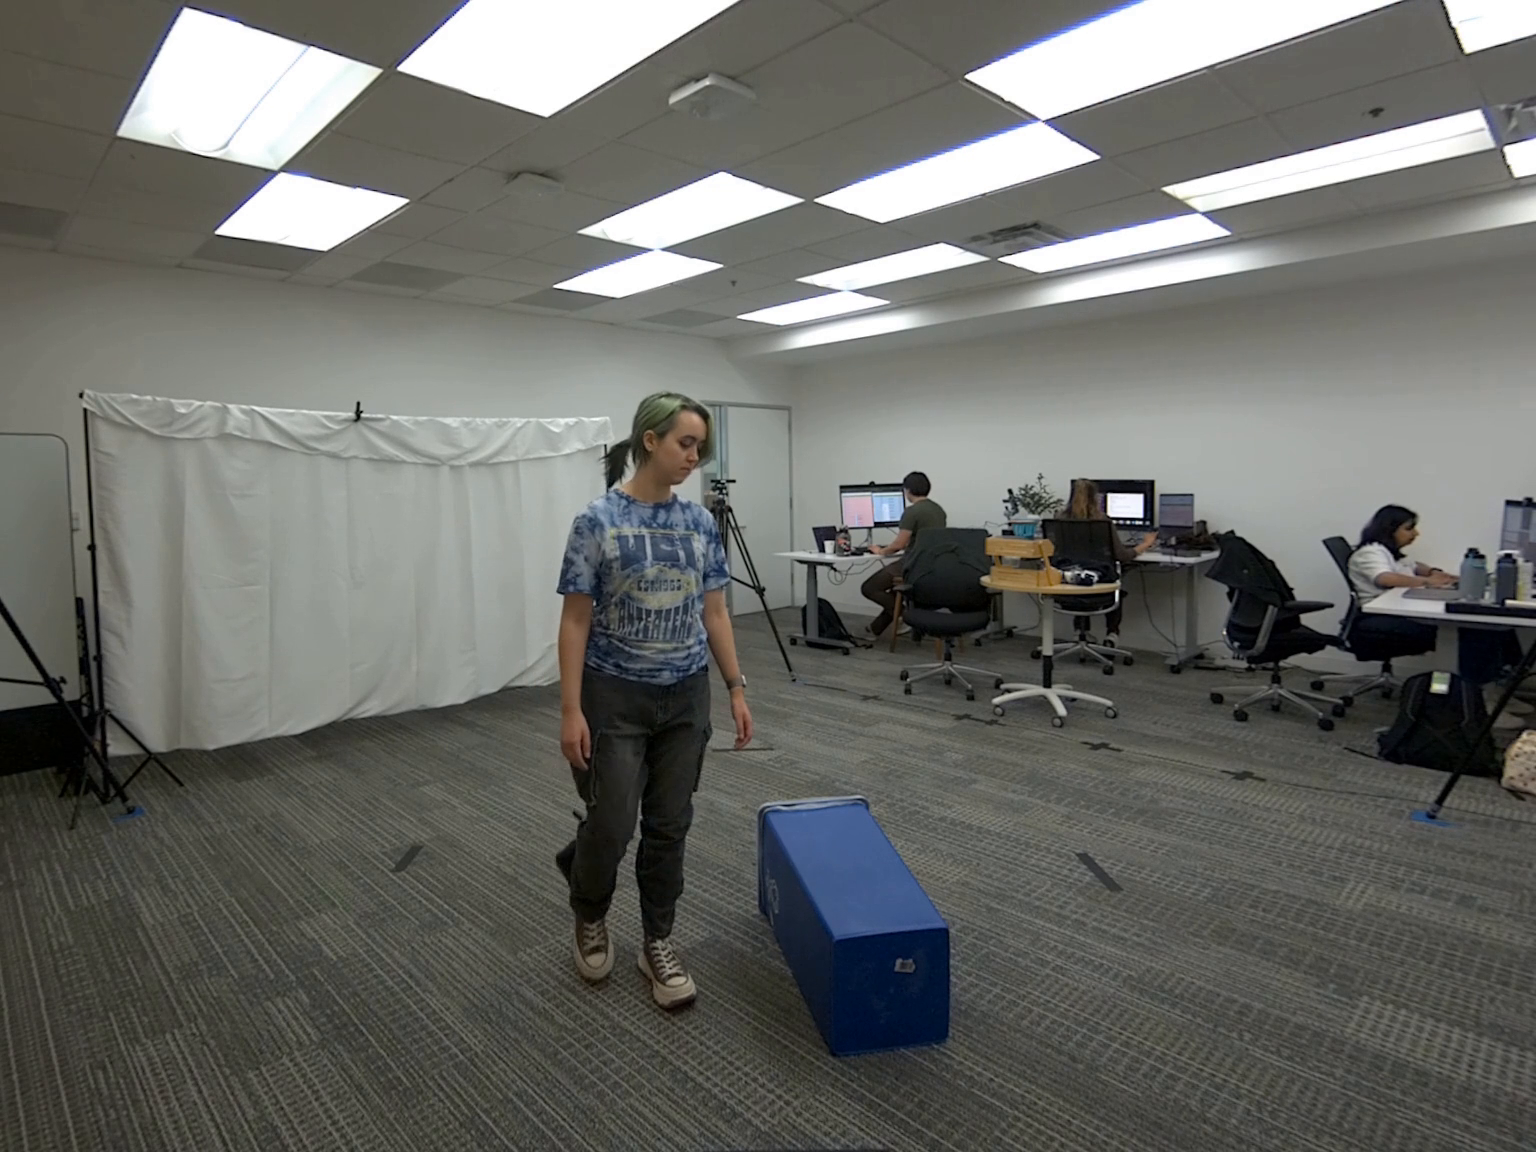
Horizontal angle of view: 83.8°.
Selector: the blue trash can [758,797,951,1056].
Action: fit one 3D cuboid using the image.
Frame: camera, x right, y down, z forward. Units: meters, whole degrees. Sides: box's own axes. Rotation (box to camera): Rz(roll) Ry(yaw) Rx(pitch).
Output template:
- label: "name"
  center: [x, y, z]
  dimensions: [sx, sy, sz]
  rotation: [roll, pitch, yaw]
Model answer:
- label: "blue trash can"
  center: [0.228, 0.945, 2.423]
  dimensions: [0.374, 0.372, 0.726]
  rotation: [-2, 8, -12]
